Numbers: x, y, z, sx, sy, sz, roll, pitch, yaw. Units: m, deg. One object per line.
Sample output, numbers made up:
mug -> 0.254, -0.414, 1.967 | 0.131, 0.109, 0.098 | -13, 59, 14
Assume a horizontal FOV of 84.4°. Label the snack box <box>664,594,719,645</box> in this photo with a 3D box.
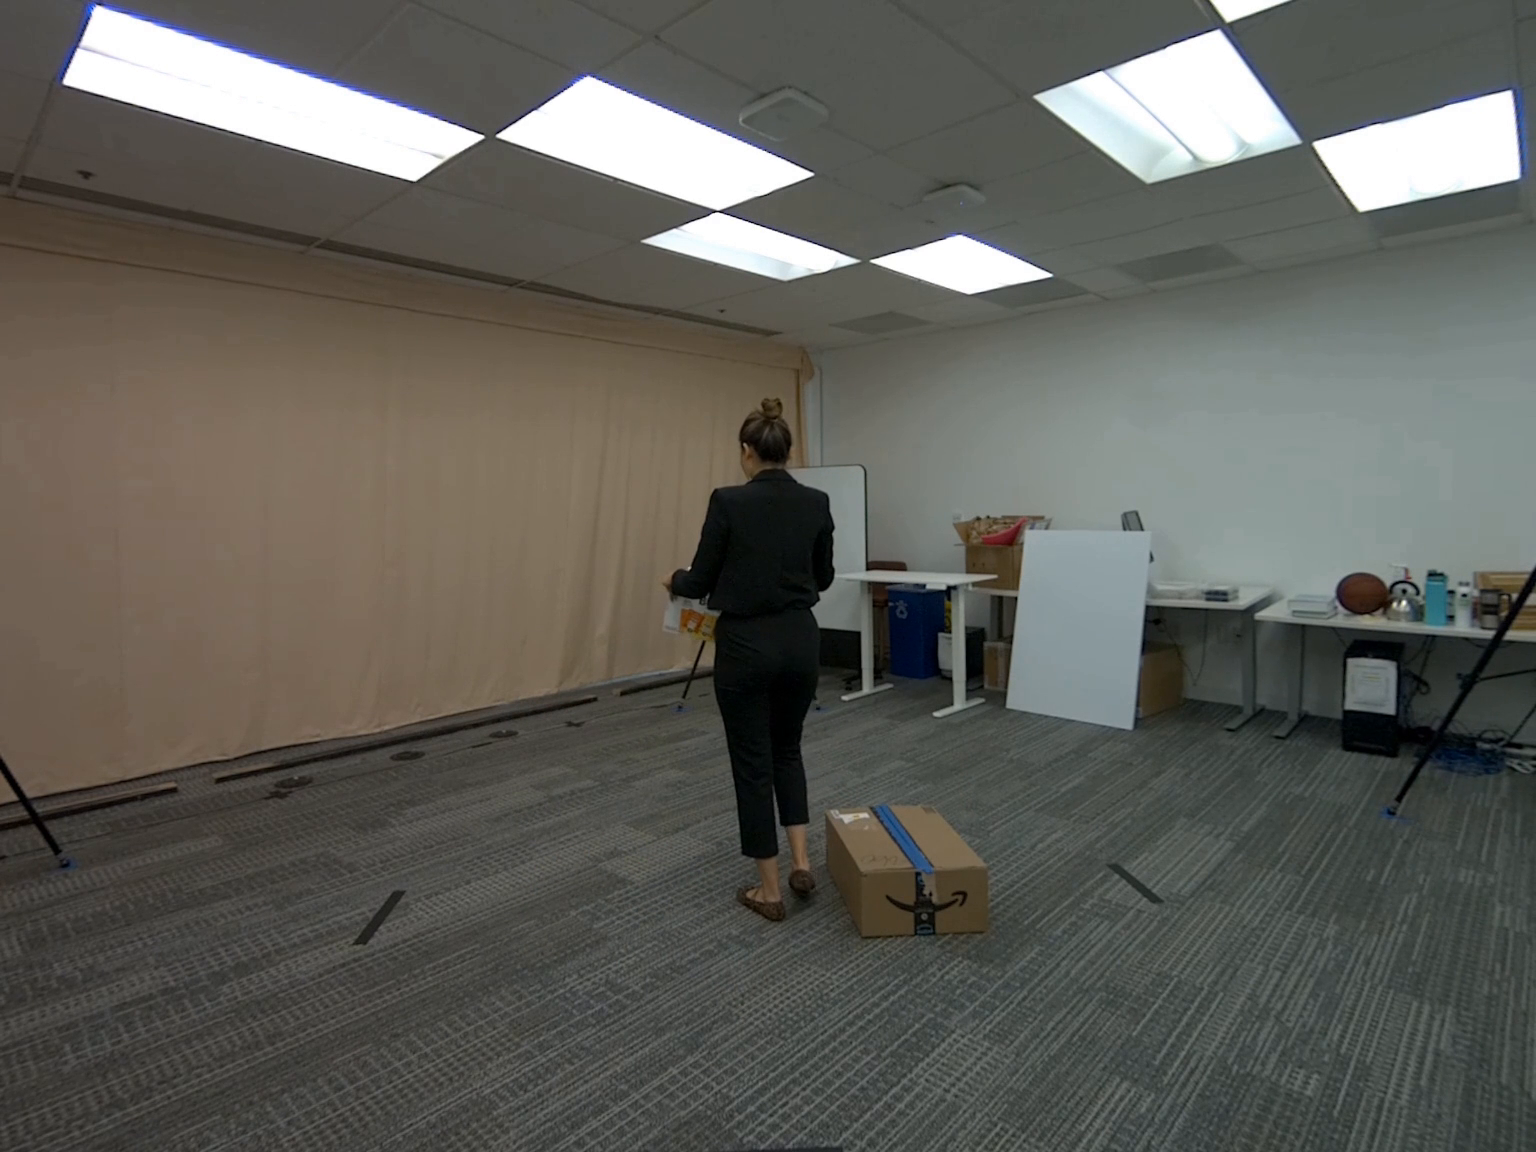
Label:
snack box -> -0.144, 0.115, 3.286 | 0.412, 0.204, 0.337 | 12, 17, 13
